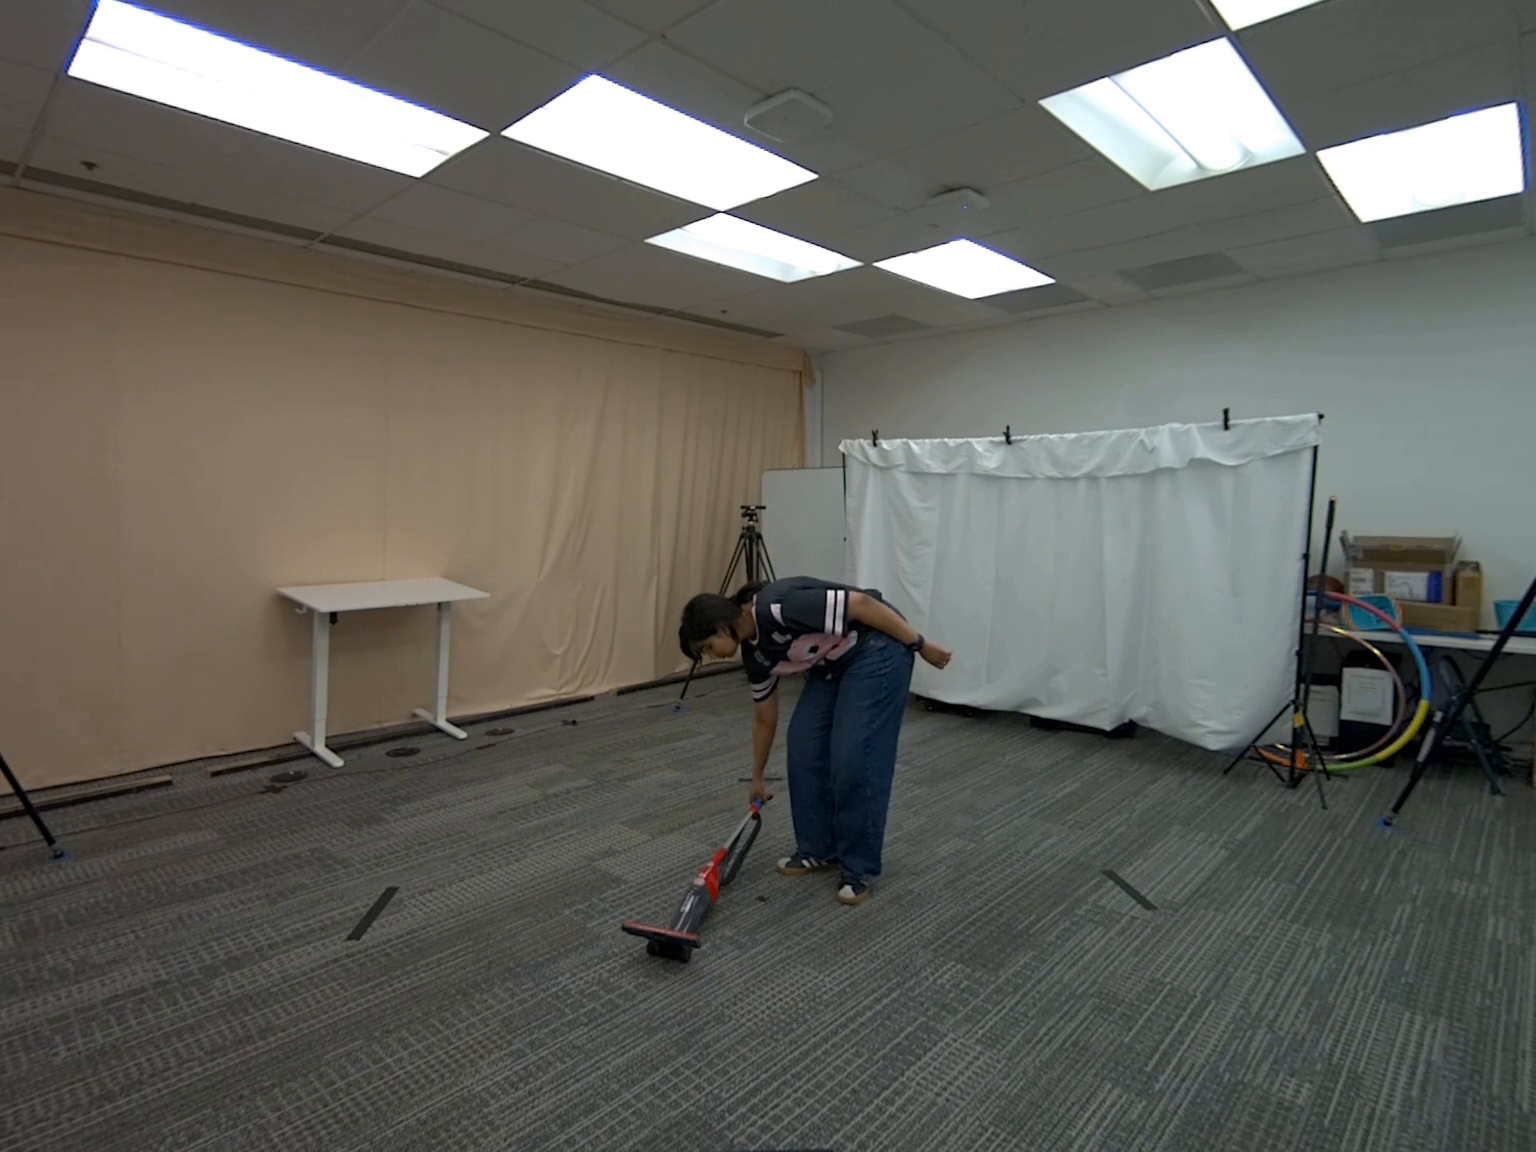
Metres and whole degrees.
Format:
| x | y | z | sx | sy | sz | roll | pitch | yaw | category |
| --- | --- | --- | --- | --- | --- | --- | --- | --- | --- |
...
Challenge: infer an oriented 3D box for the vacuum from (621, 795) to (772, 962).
| x | y | z | sx | sy | sz | roll | pitch | yaw | category |
| --- | --- | --- | --- | --- | --- | --- | --- | --- | --- |
| -0.151 | 1.032 | 3.032 | 0.258 | 0.143 | 1.034 | 2 | 11 | 19 | vacuum |
